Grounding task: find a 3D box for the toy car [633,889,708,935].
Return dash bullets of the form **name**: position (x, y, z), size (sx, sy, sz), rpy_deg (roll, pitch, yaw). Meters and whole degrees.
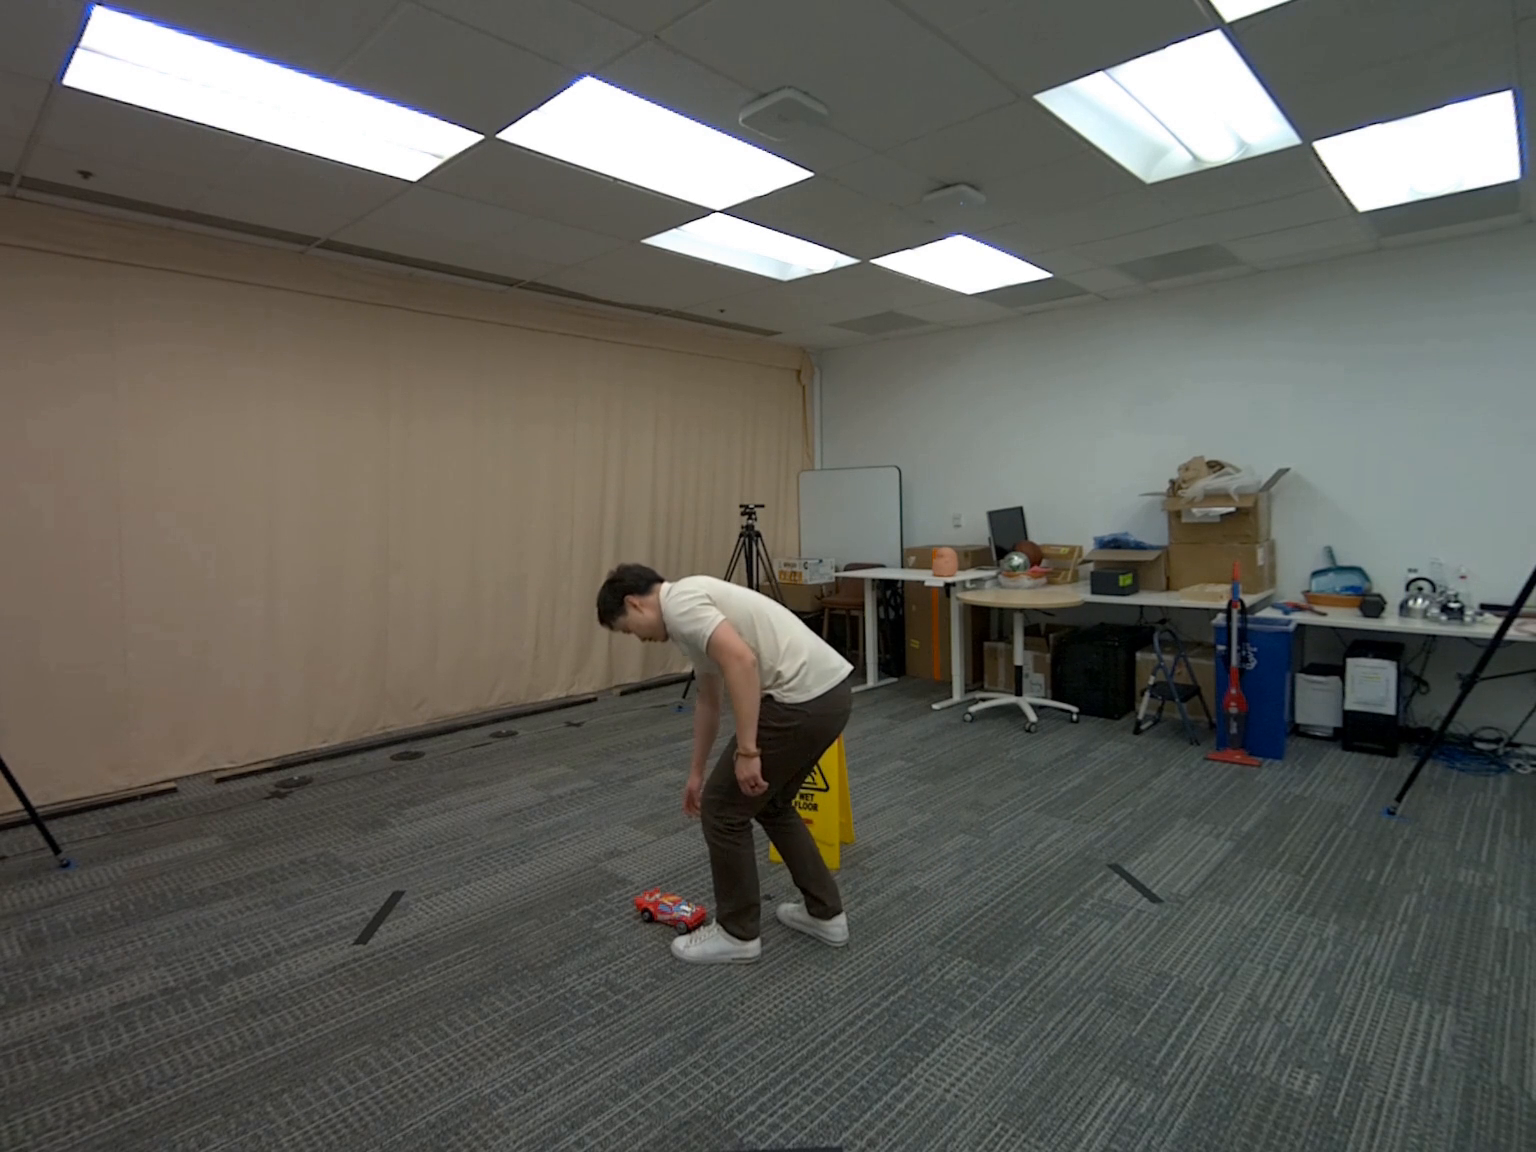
- **toy car**: position (-0.335, 1.129, 2.839), size (0.263, 0.083, 0.127), rpy_deg (15, 13, 31)
